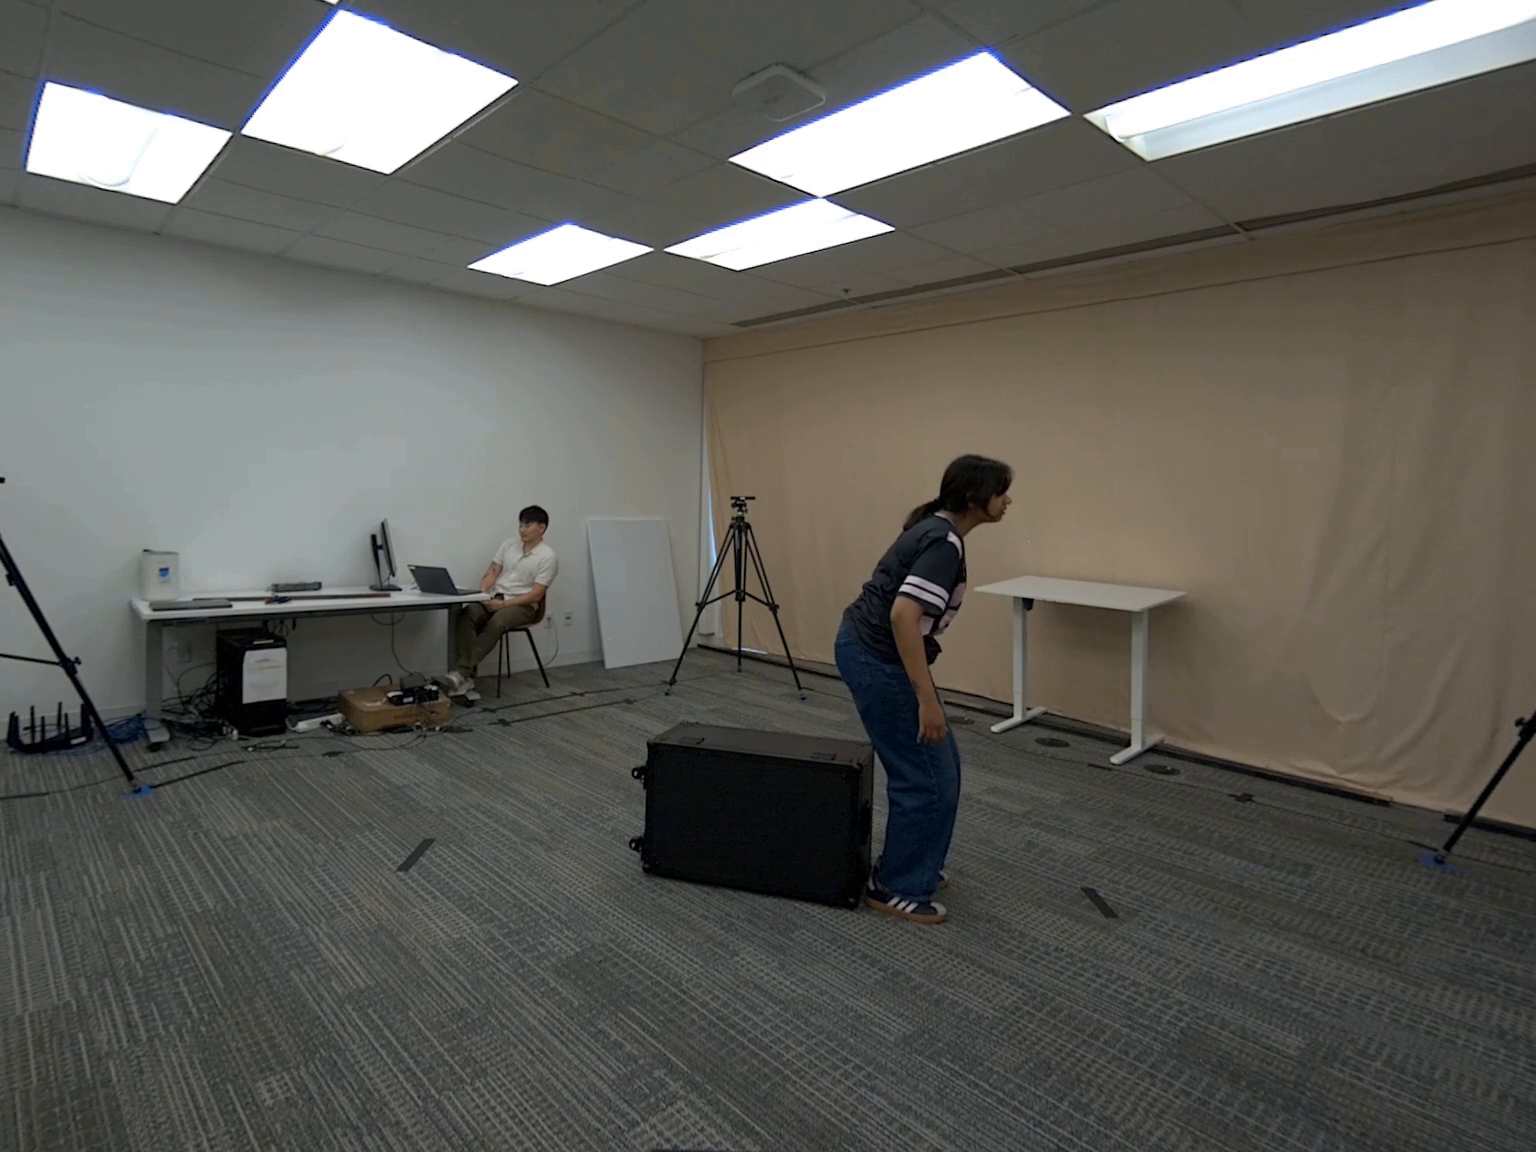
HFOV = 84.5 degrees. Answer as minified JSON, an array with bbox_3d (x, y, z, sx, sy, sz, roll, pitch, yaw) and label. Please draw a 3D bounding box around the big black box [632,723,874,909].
[{"bbox_3d":[-0.066,0.843,3.136,0.881,0.522,0.380,3,4,17],"label":"big black box"}]
